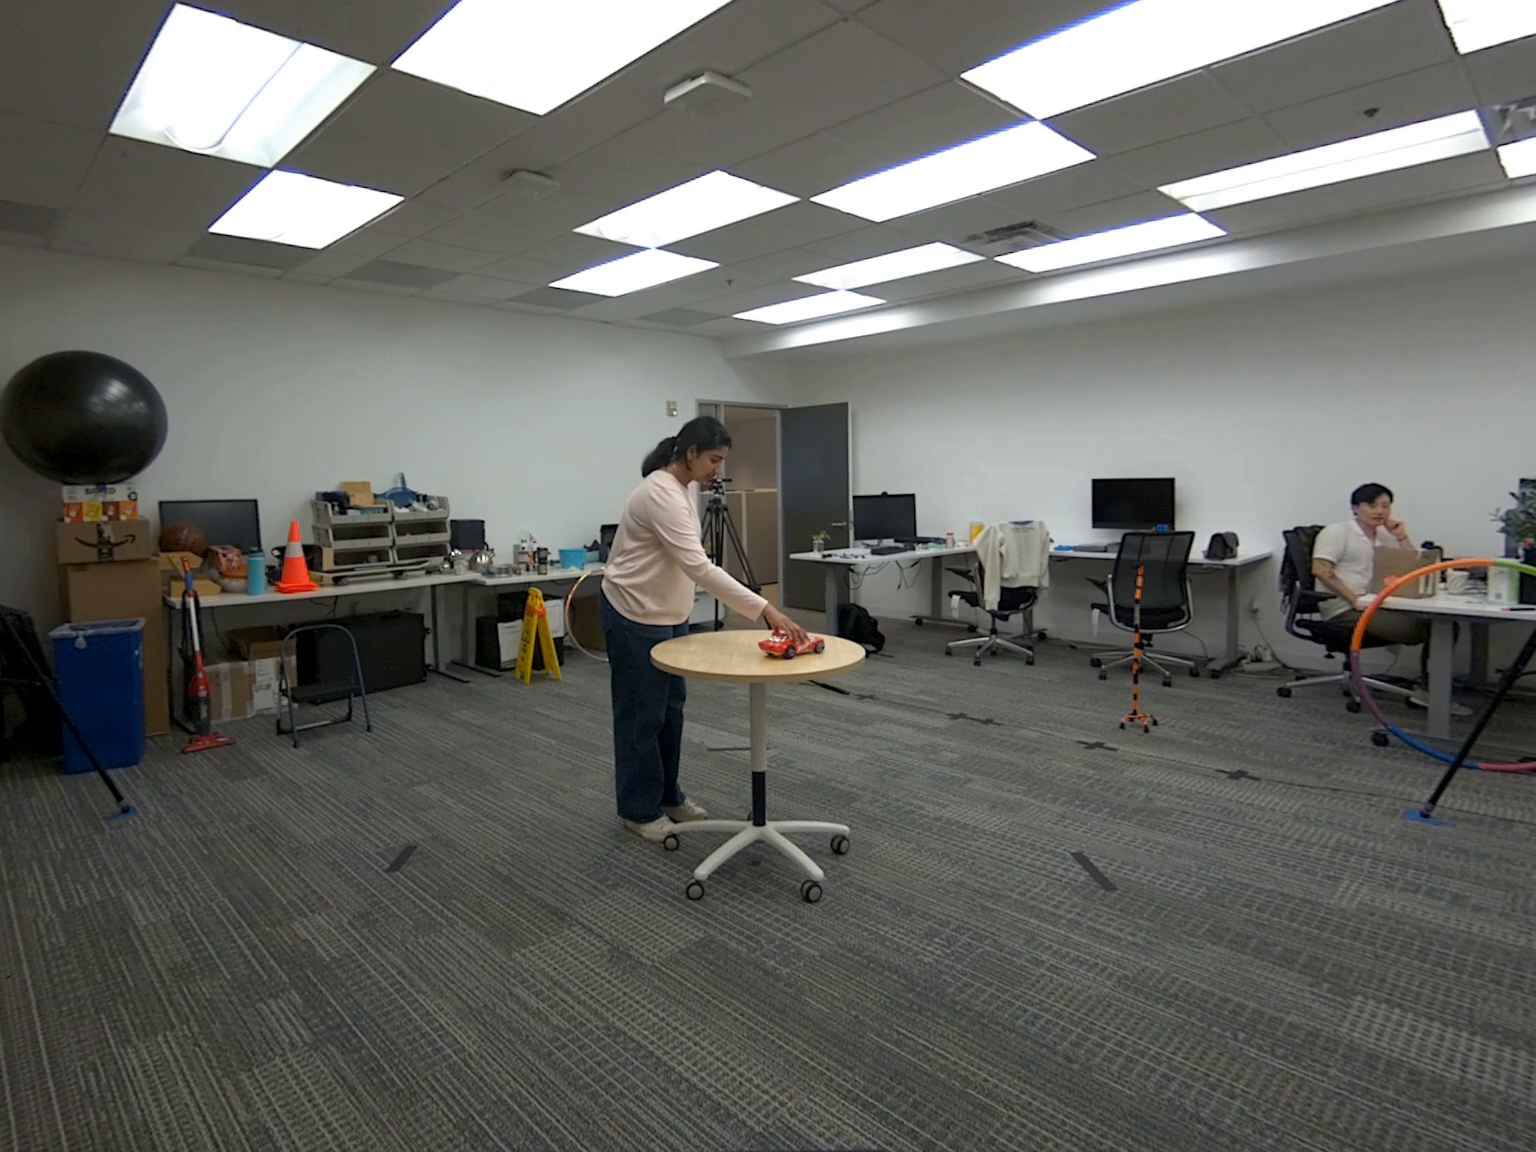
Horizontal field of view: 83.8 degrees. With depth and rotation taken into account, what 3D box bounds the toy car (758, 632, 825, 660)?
[{"bbox_3d":[0.082,0.243,2.977,0.246,0.083,0.134,8,-2,-41],"label":"toy car"}]
